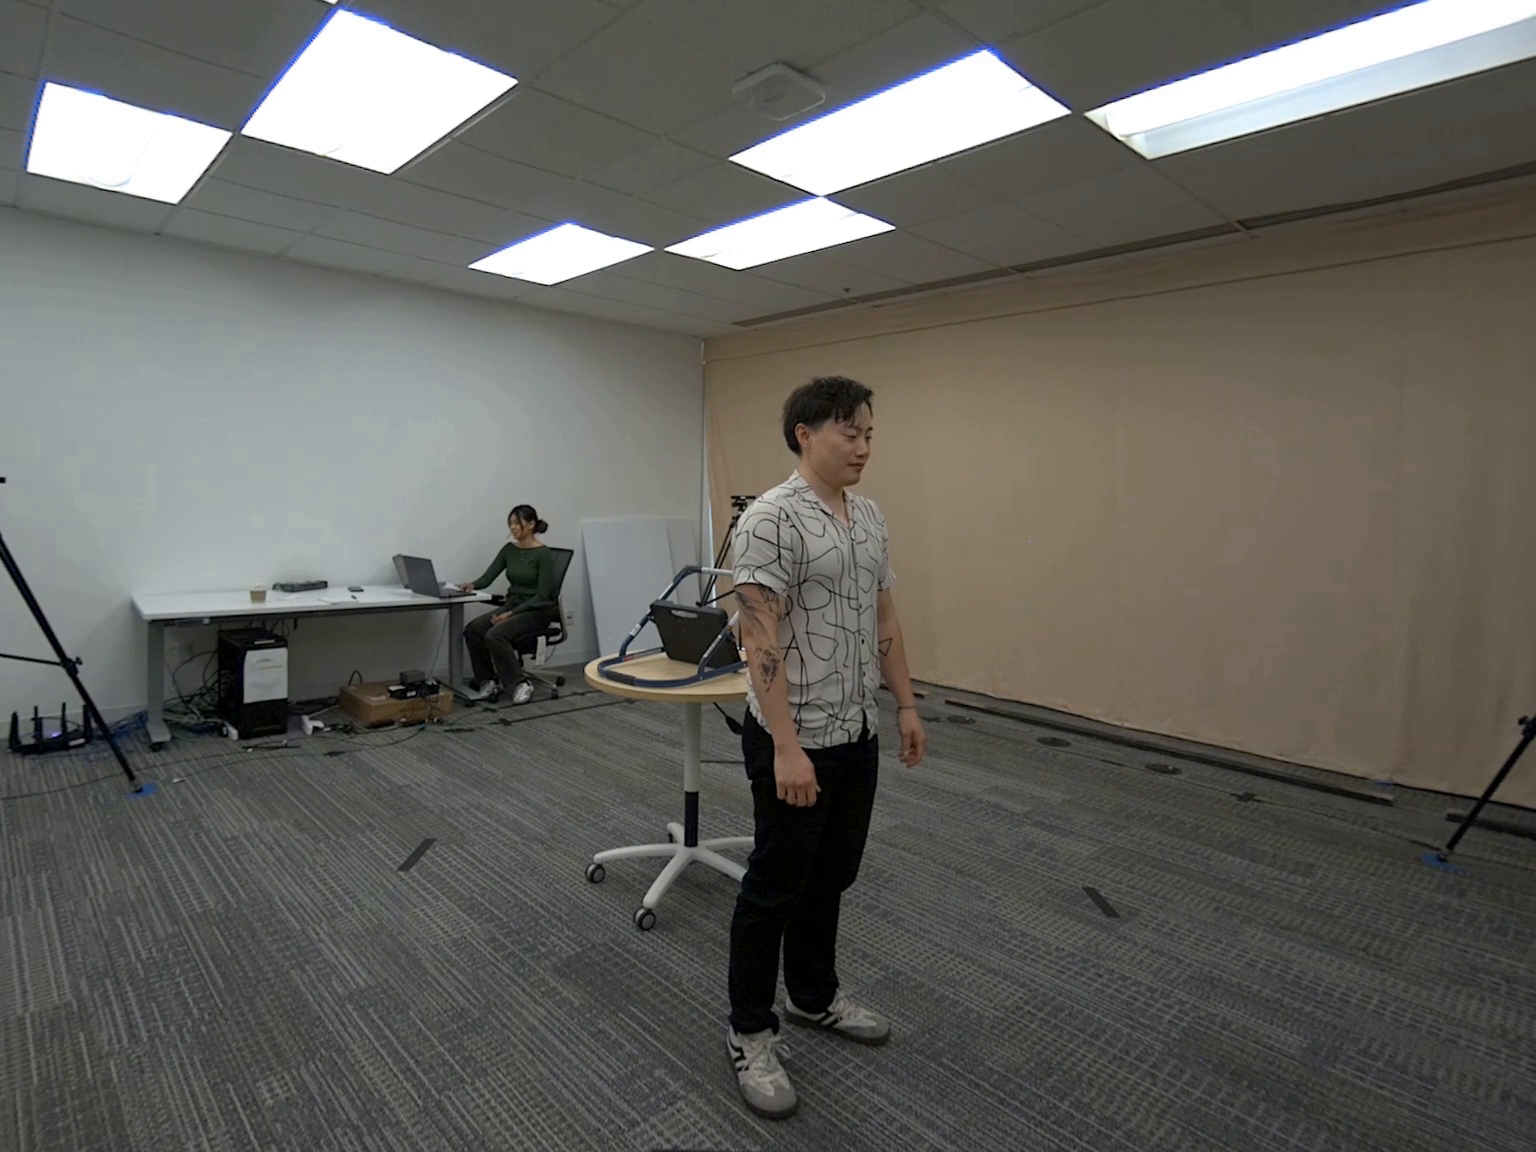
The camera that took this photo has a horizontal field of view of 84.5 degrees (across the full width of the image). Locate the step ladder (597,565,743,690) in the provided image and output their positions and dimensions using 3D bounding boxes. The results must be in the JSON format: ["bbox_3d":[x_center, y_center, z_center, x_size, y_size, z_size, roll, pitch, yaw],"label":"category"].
[{"bbox_3d":[-0.292,0.265,2.955,0.441,0.343,0.602,4,30,40],"label":"step ladder"}]
